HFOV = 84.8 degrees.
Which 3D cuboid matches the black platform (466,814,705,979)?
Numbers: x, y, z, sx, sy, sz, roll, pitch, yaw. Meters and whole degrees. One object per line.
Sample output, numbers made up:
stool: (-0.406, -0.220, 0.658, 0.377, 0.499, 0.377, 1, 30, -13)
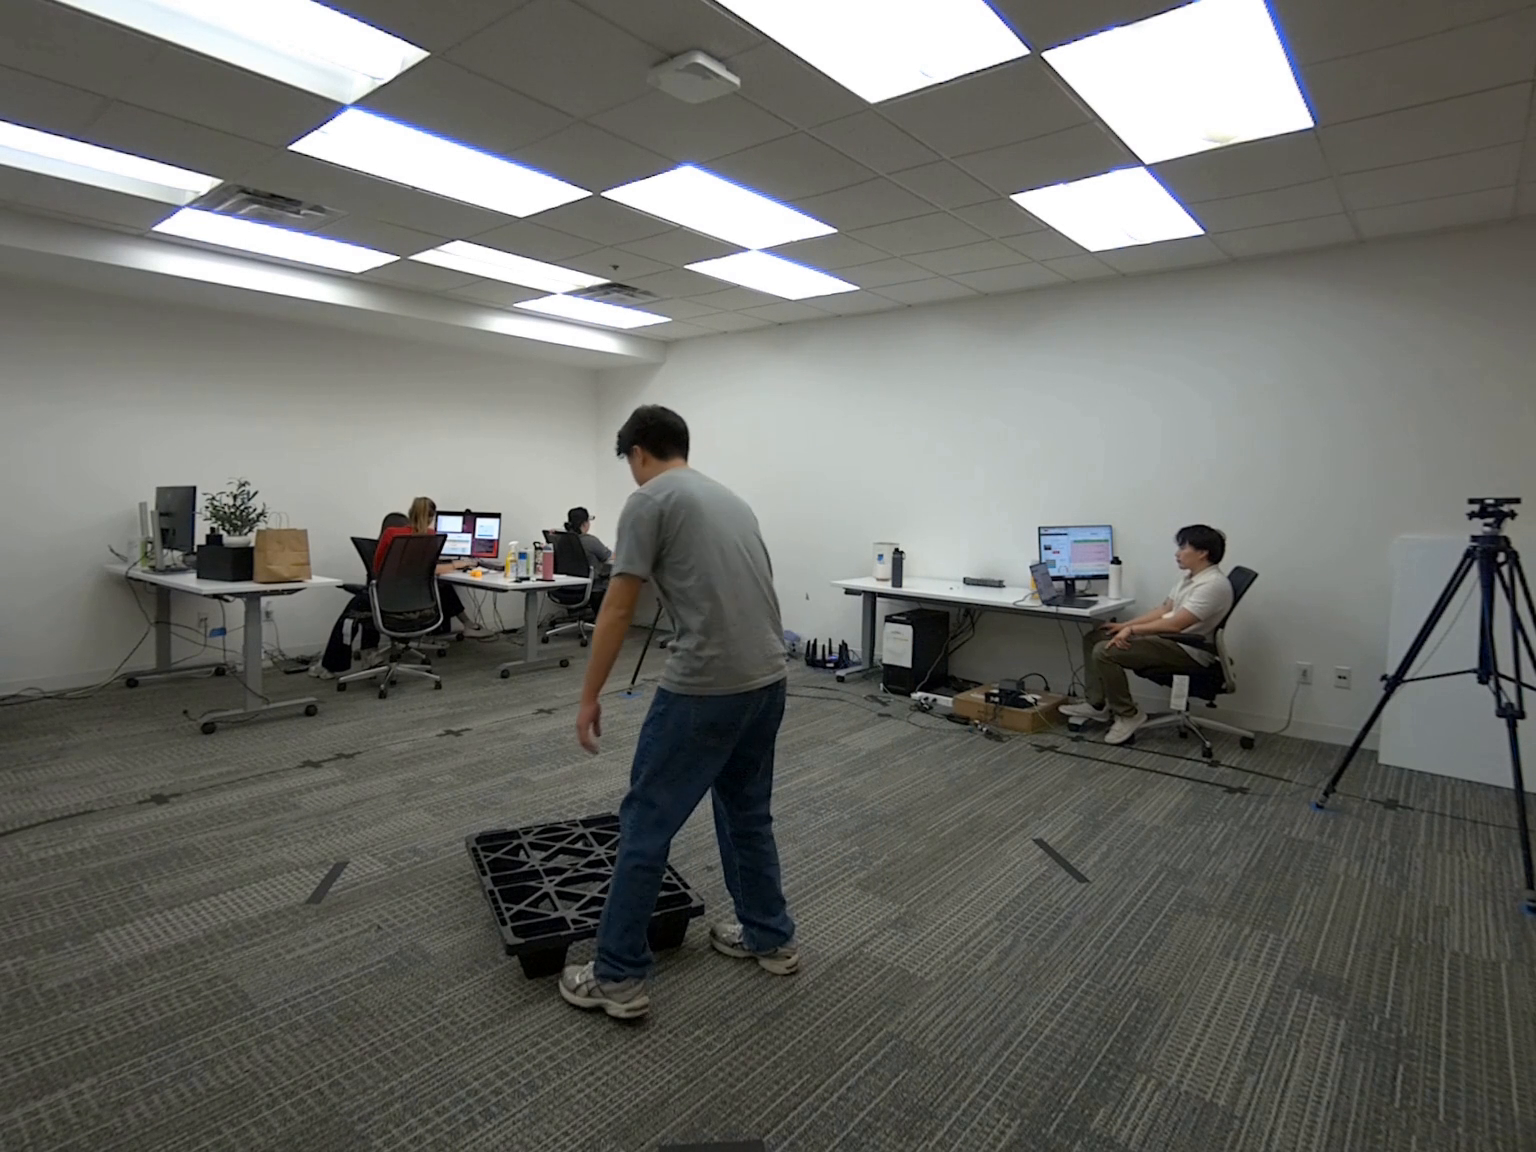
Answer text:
black platform: (-0.647, 1.022, 2.815, 0.591, 0.143, 0.829, -2, 7, -26)
